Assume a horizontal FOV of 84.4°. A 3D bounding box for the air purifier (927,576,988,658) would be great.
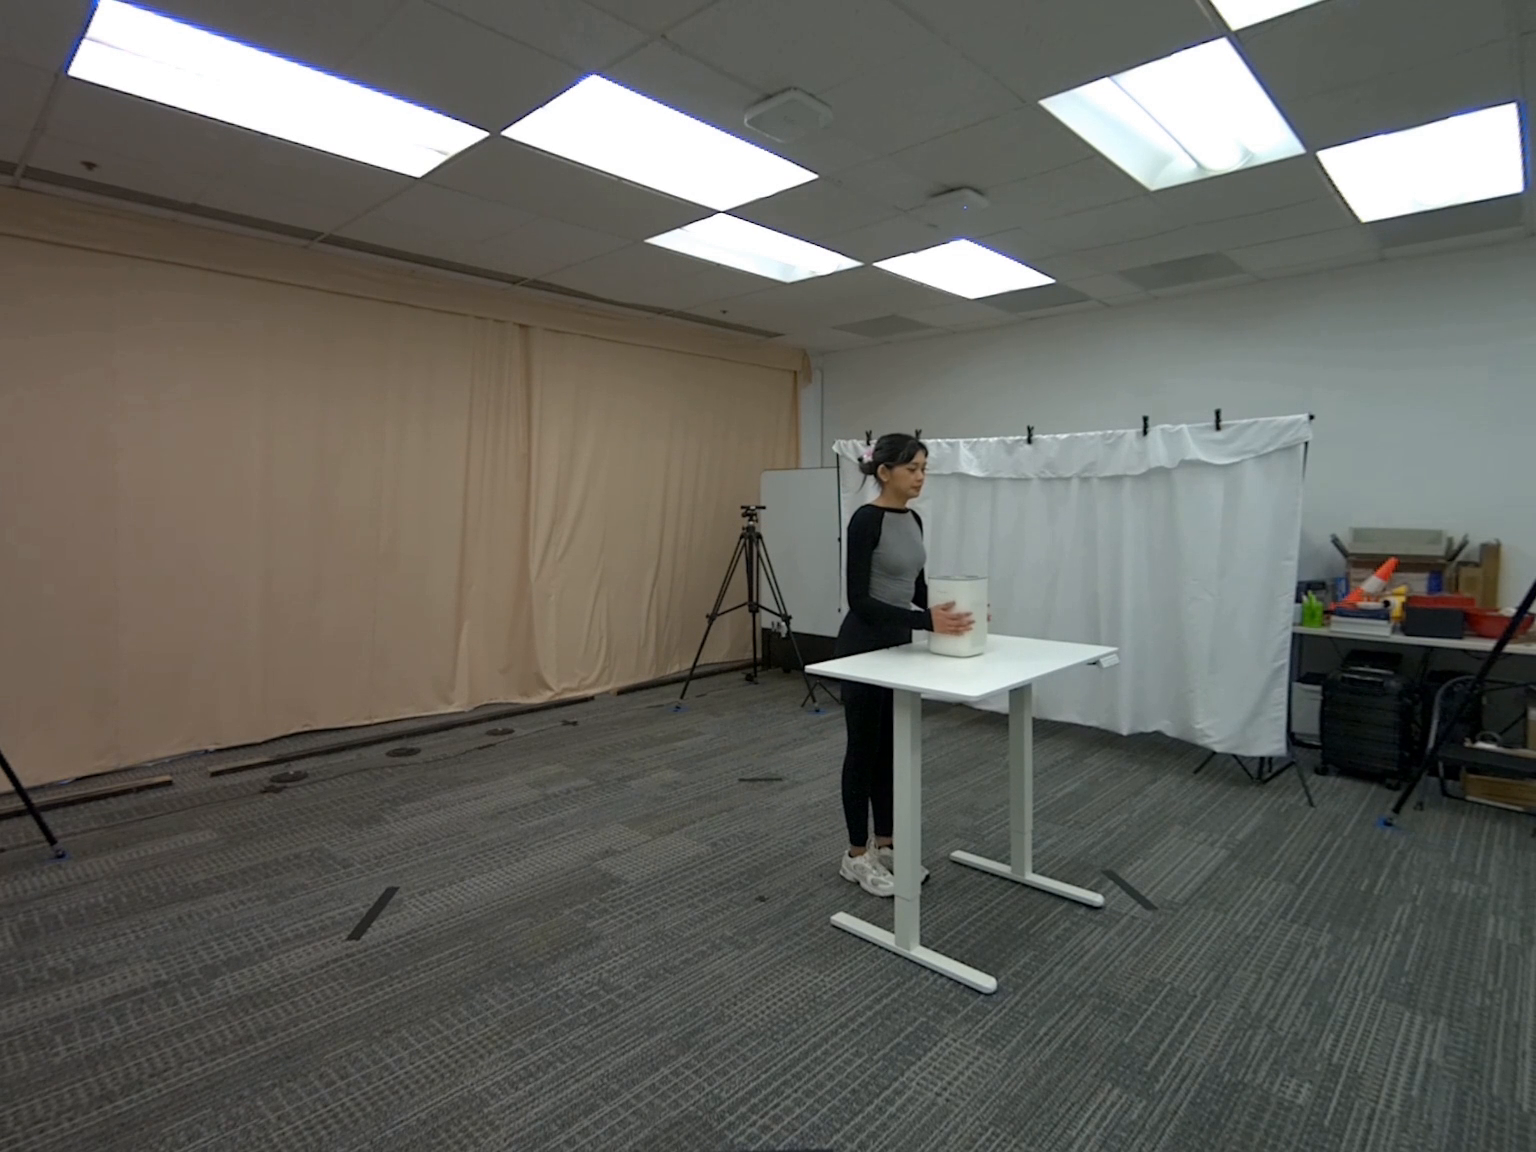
[{"bbox_3d":[0.648,0.138,2.887,0.177,0.265,0.166,2,4,44],"label":"air purifier"}]
